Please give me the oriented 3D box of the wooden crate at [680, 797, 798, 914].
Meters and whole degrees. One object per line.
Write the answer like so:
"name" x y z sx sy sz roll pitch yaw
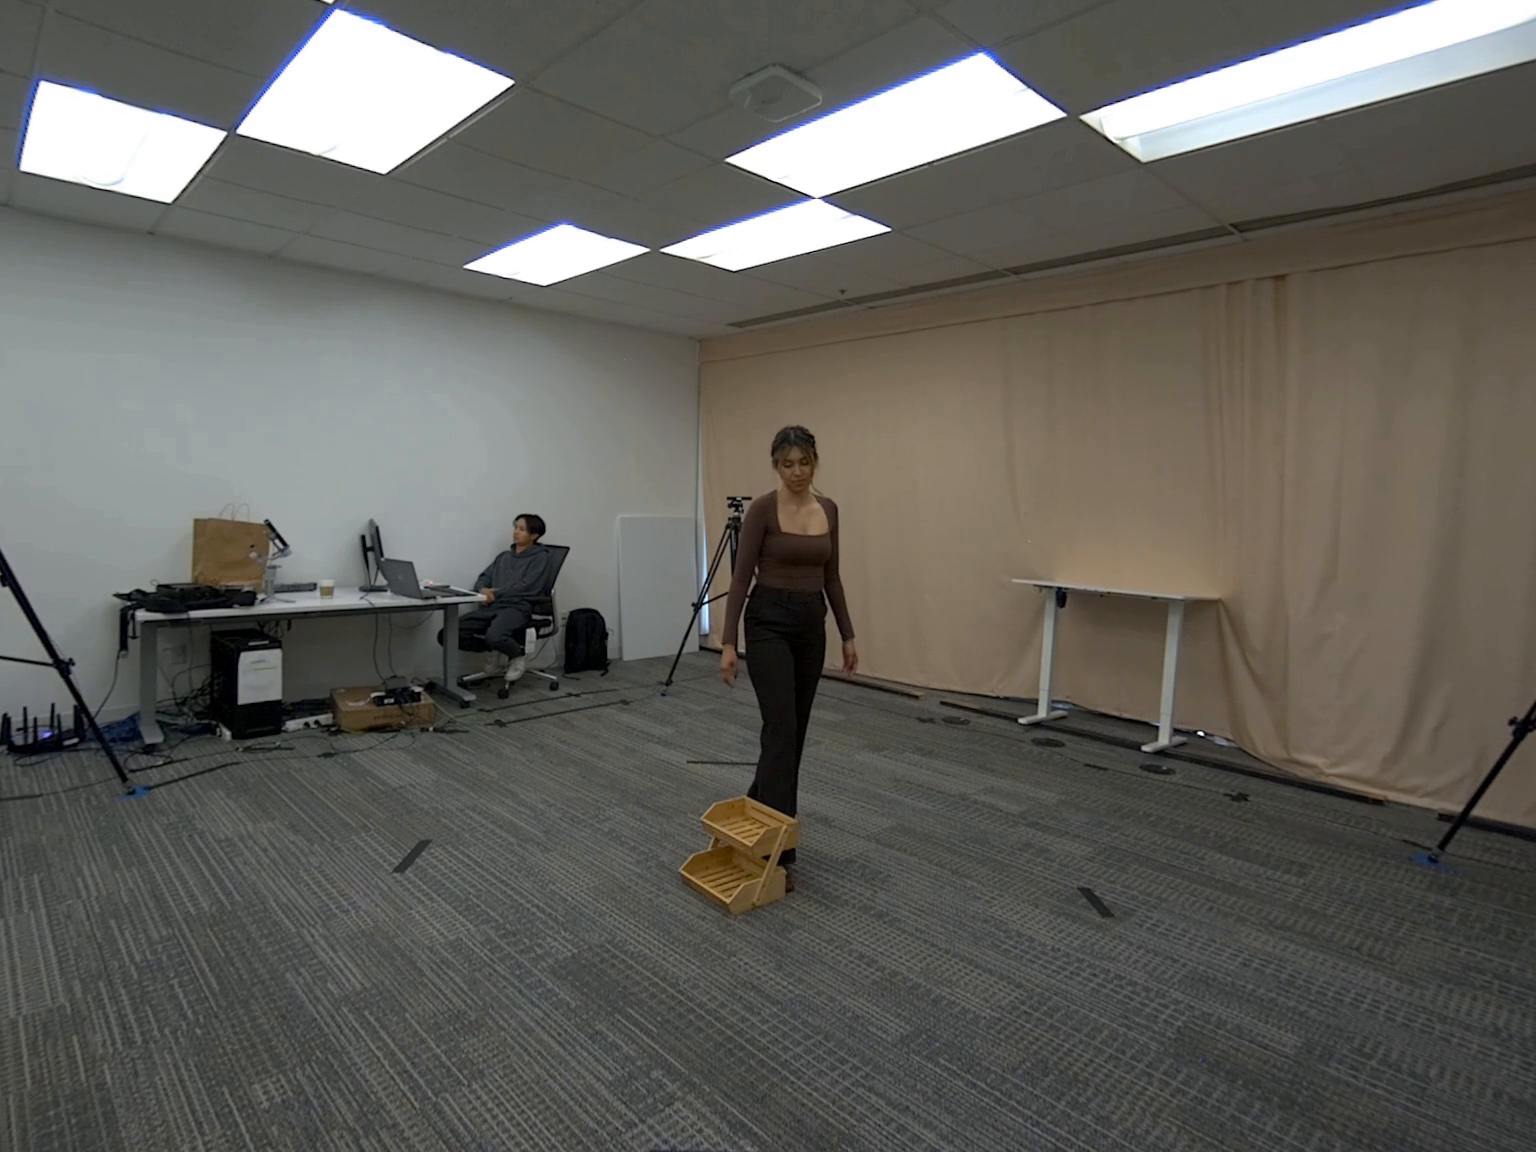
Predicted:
"wooden crate" -0.119 0.984 2.995 0.295 0.272 0.333 -1 5 -39
